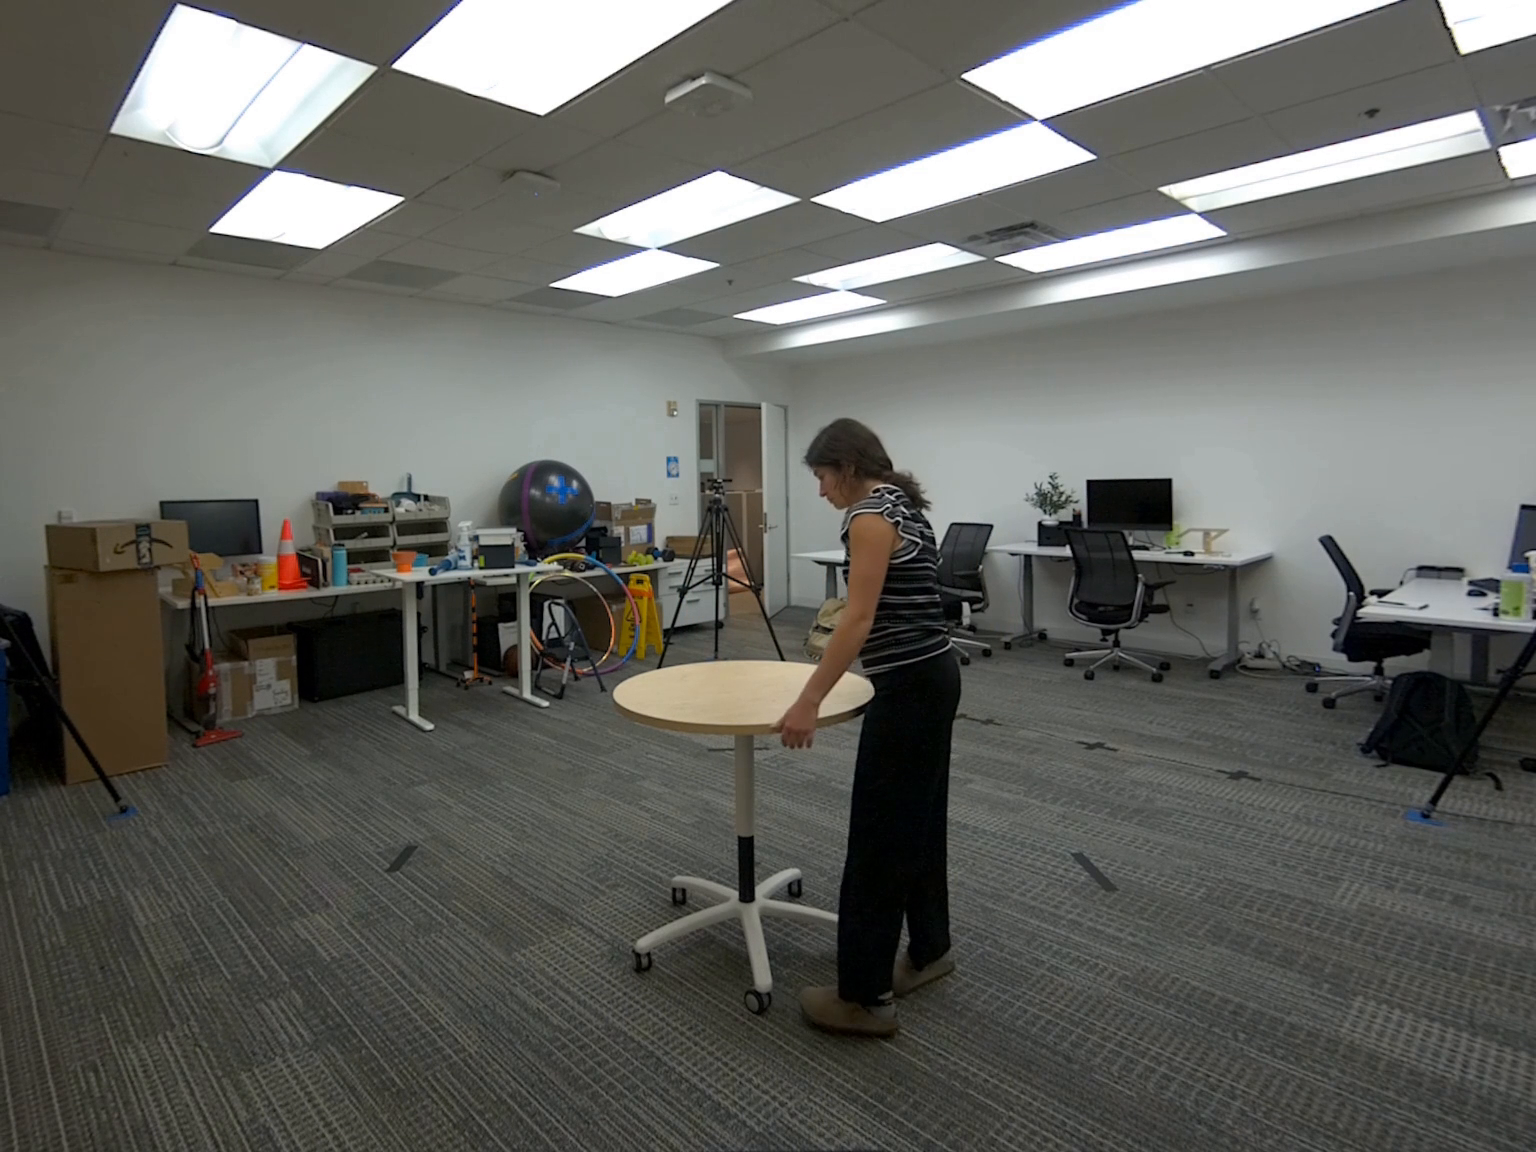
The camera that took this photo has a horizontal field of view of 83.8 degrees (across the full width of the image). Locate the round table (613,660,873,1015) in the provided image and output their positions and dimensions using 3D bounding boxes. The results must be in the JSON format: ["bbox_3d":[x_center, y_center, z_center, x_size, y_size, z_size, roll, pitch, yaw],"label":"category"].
[{"bbox_3d":[-0.064,0.724,2.546,0.763,0.791,0.768,-1,5,-2],"label":"round table"}]
